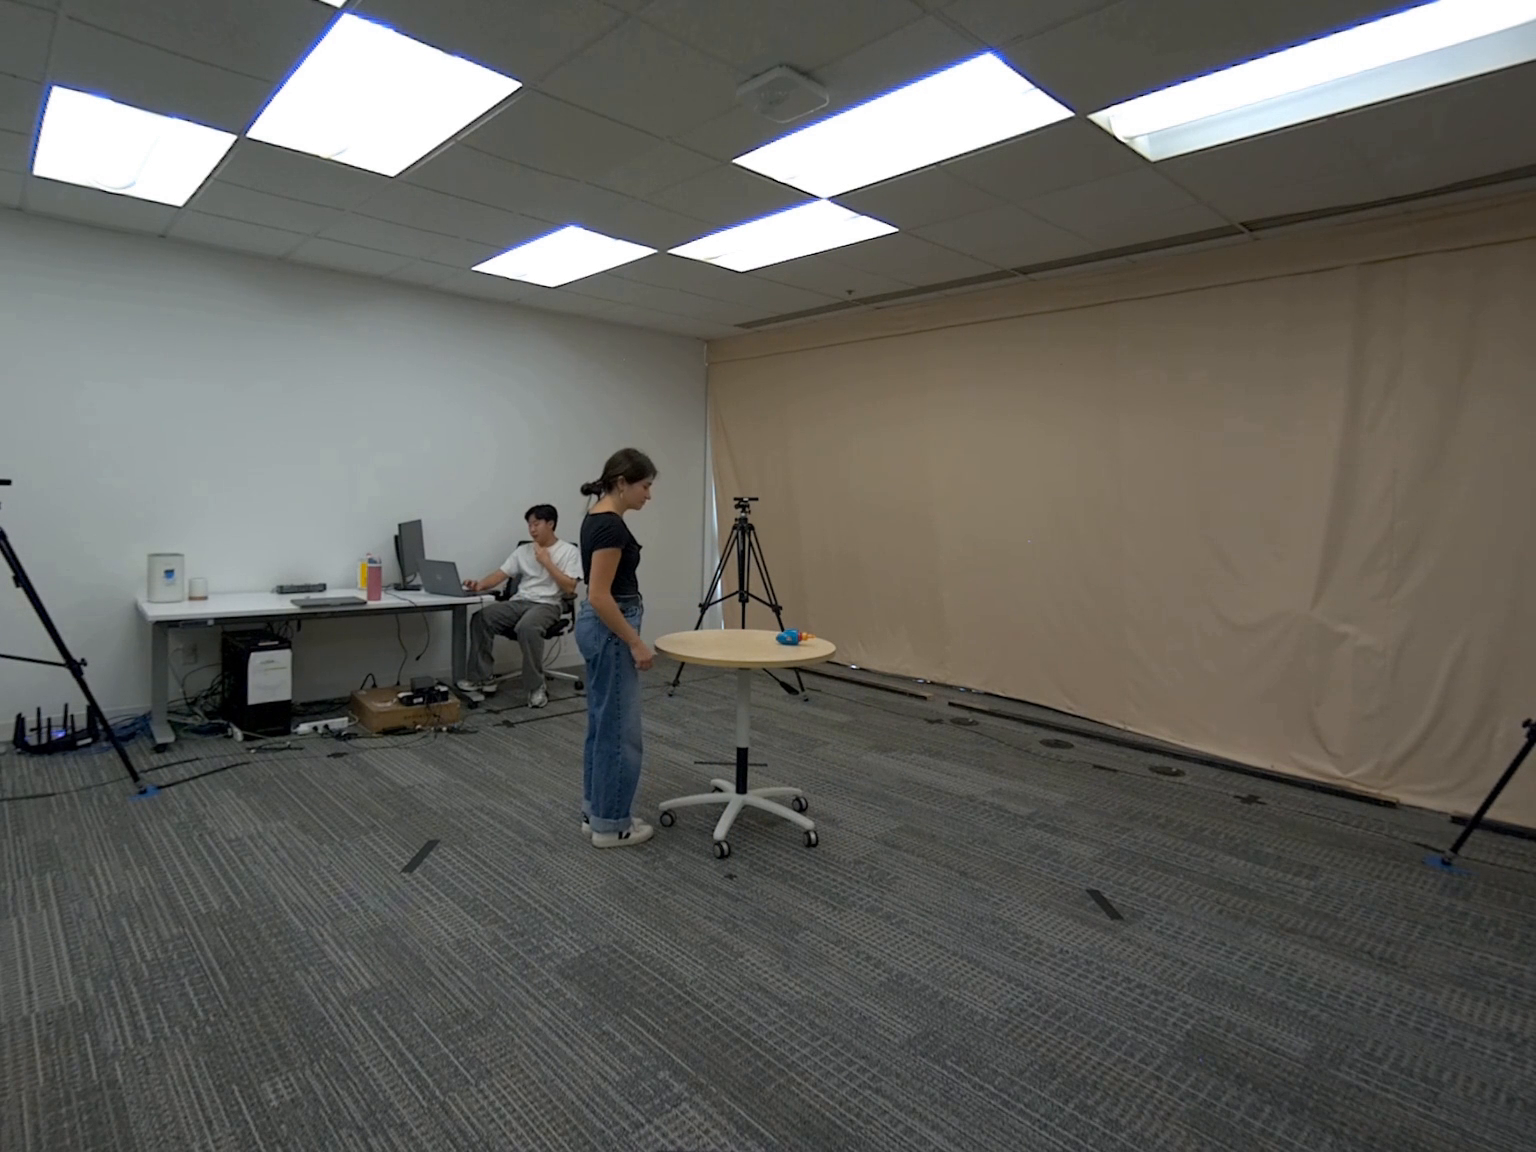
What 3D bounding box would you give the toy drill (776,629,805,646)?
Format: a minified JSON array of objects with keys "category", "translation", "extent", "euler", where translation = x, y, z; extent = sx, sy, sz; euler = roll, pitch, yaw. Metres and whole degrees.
[{"category":"toy drill","translation":[0.111,0.258,3.604],"extent":[0.171,0.061,0.145],"euler":[-6,3,12]}]
